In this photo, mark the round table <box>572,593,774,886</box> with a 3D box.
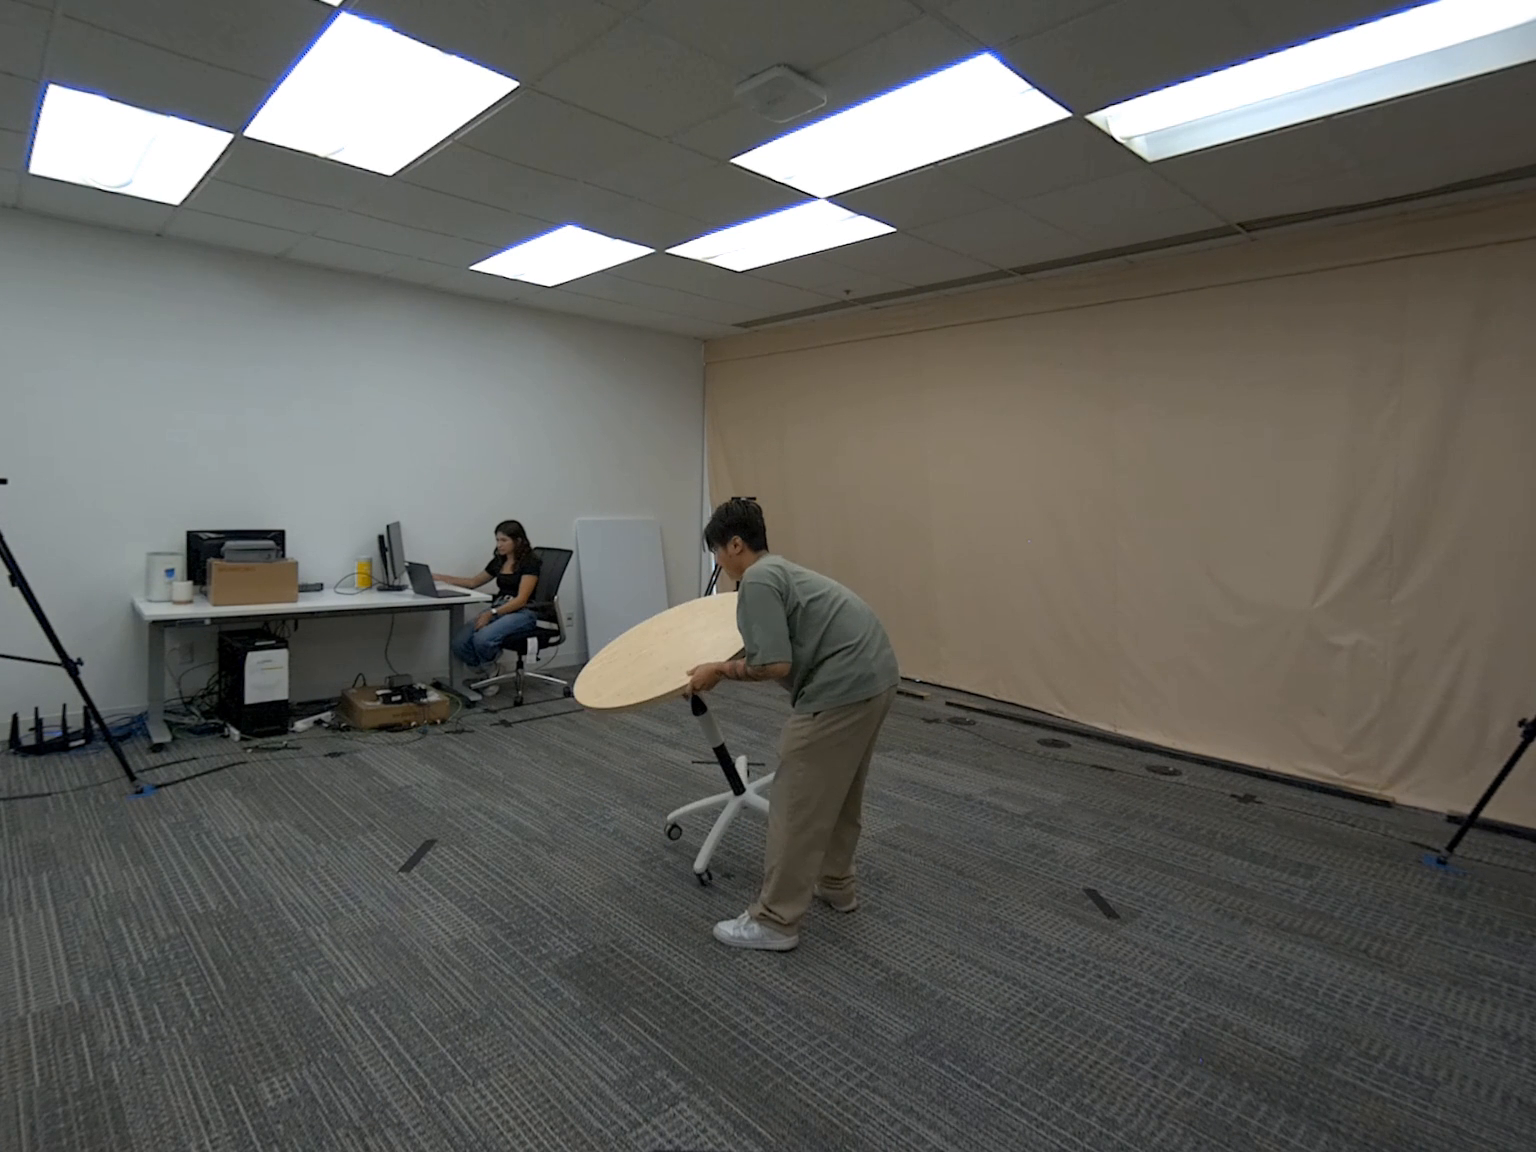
[{"bbox_3d":[-0.217,0.610,3.152,0.787,0.774,0.795,-22,17,5],"label":"round table"}]
